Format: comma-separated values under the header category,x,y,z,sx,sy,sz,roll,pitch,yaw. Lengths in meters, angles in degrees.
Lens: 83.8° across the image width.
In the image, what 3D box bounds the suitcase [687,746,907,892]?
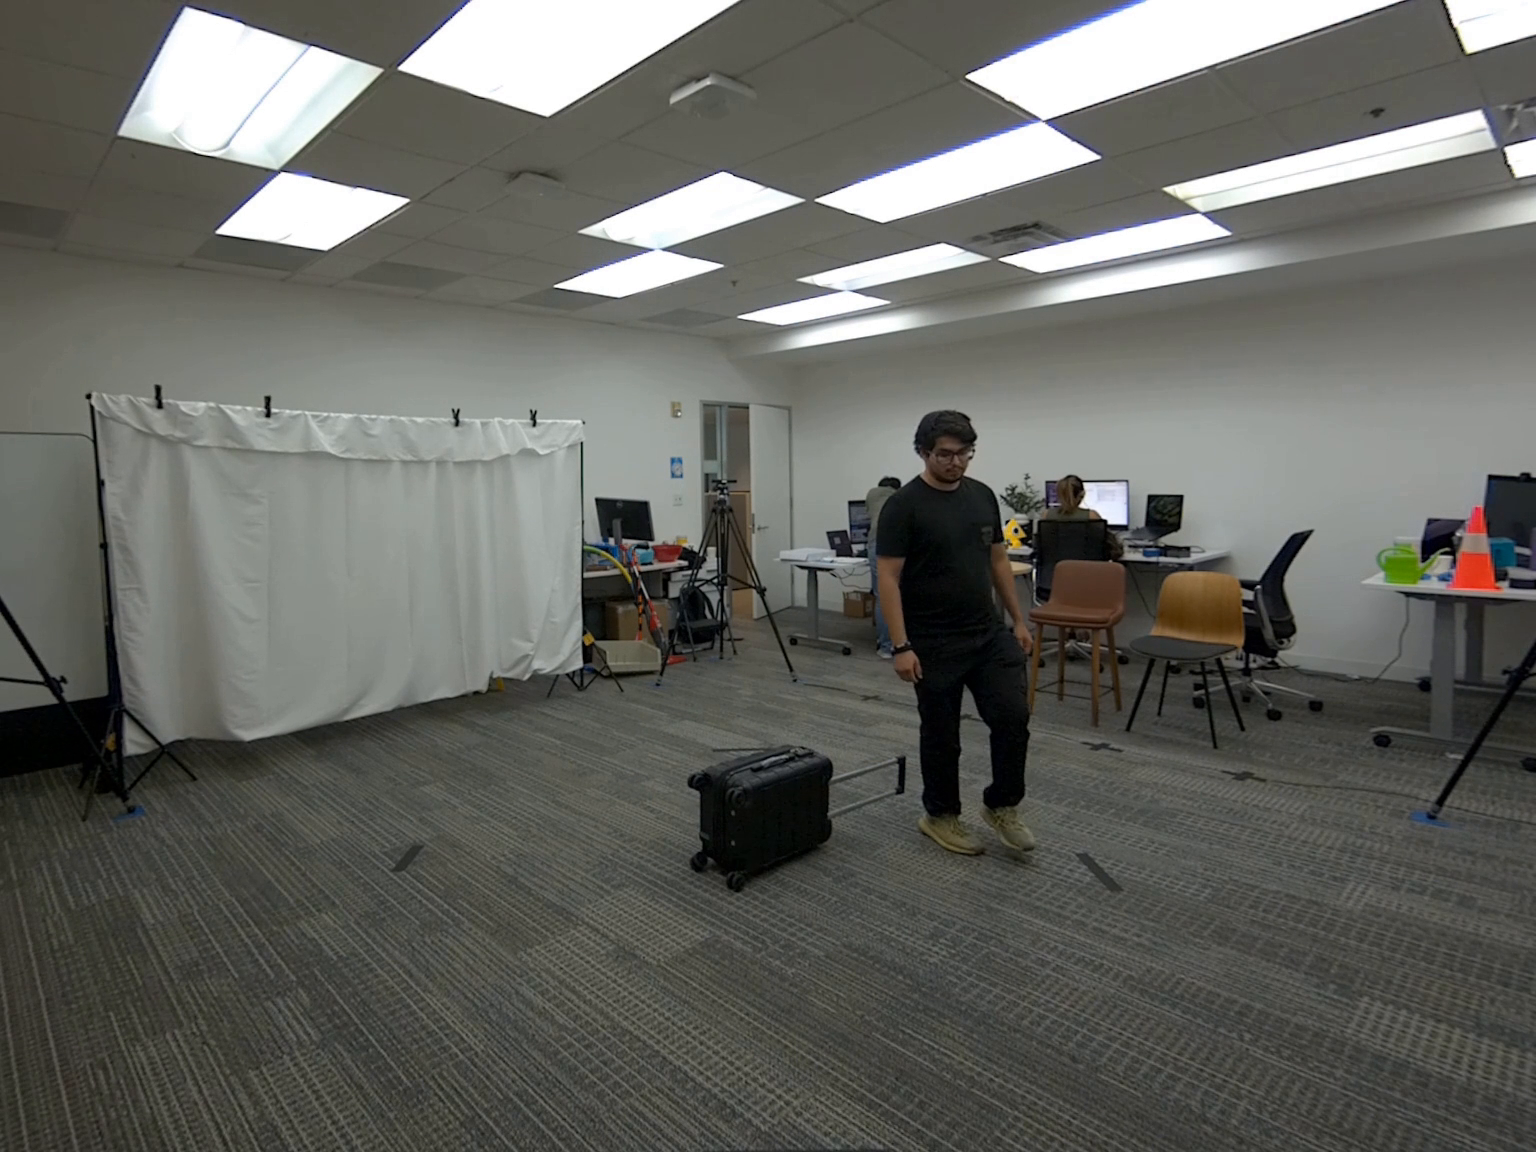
category,x,y,z,sx,sy,sz,roll,pitch,yaw
suitcase,0.133,0.839,3.293,0.265,0.382,0.953,4,7,45
